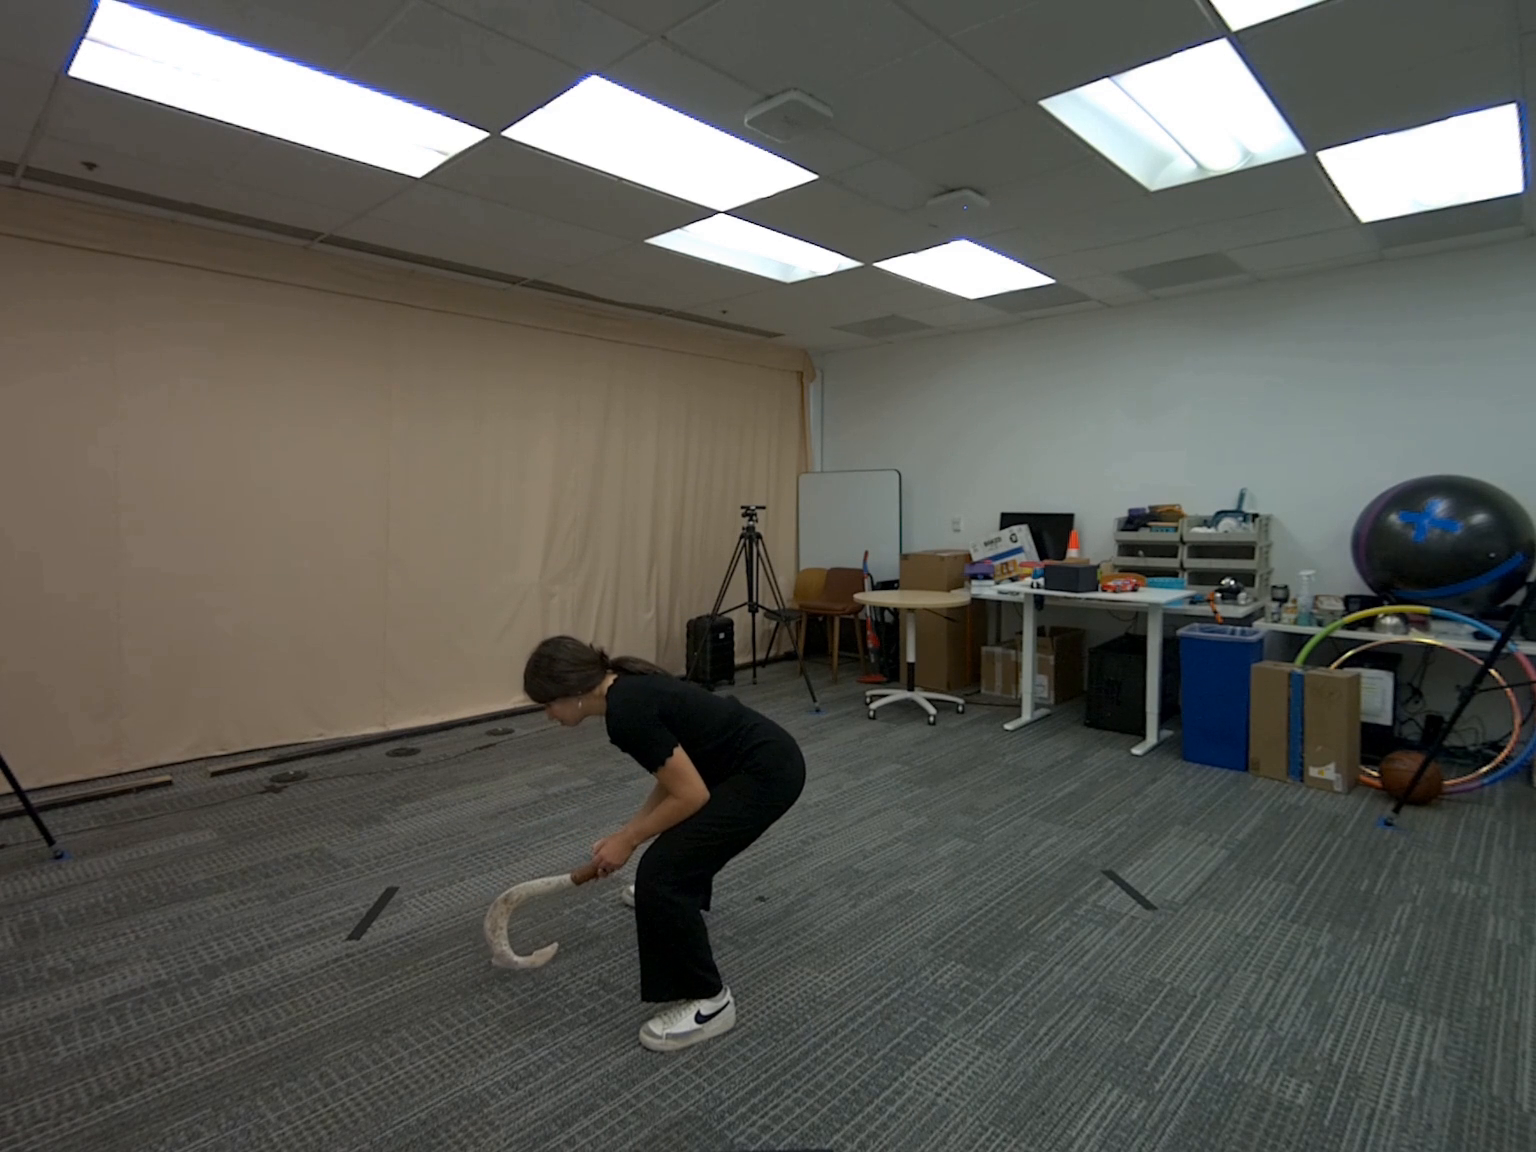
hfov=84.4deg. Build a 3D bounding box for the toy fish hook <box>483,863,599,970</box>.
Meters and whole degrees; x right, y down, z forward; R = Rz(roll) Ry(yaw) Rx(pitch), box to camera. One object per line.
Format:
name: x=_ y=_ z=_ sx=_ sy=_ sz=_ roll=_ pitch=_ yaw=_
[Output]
toy fish hook: x=-0.564 y=0.913 z=2.329 sx=0.508 sy=0.230 sz=0.047 roll=-31 pitch=-23 yaw=6
